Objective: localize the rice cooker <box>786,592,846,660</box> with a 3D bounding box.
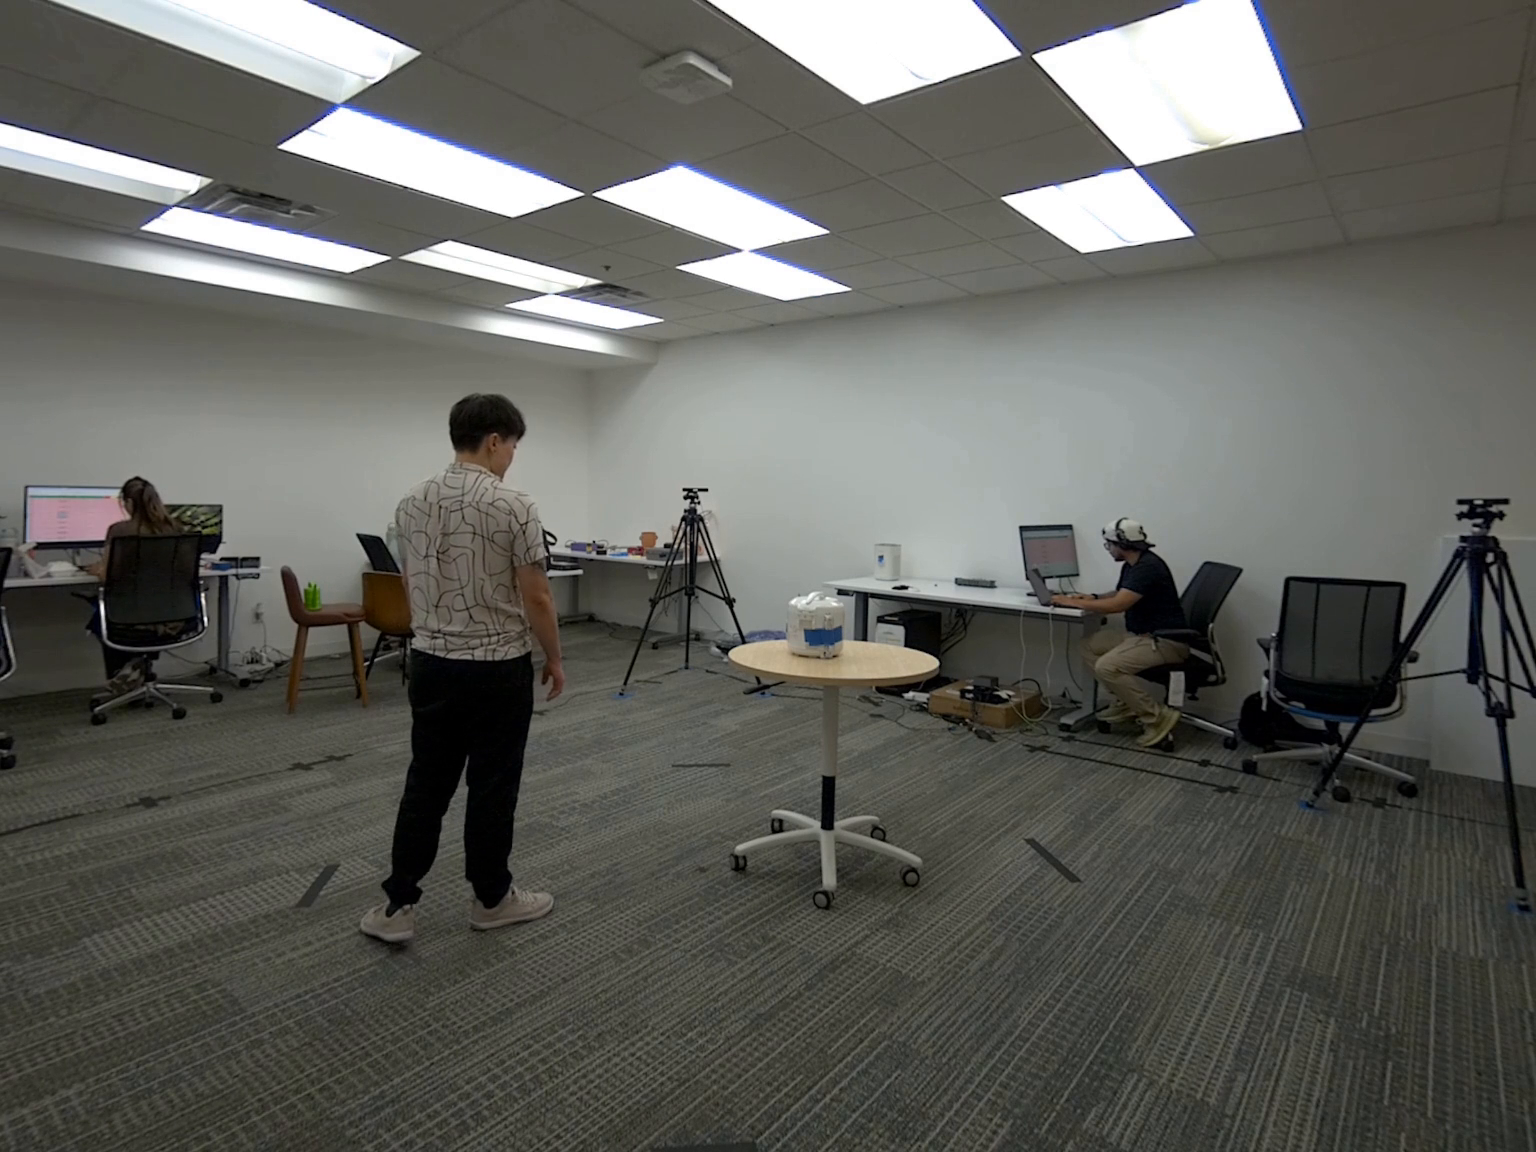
[{"bbox_3d":[0.170,0.174,3.173,0.223,0.232,0.215,4,4,24],"label":"rice cooker"}]
